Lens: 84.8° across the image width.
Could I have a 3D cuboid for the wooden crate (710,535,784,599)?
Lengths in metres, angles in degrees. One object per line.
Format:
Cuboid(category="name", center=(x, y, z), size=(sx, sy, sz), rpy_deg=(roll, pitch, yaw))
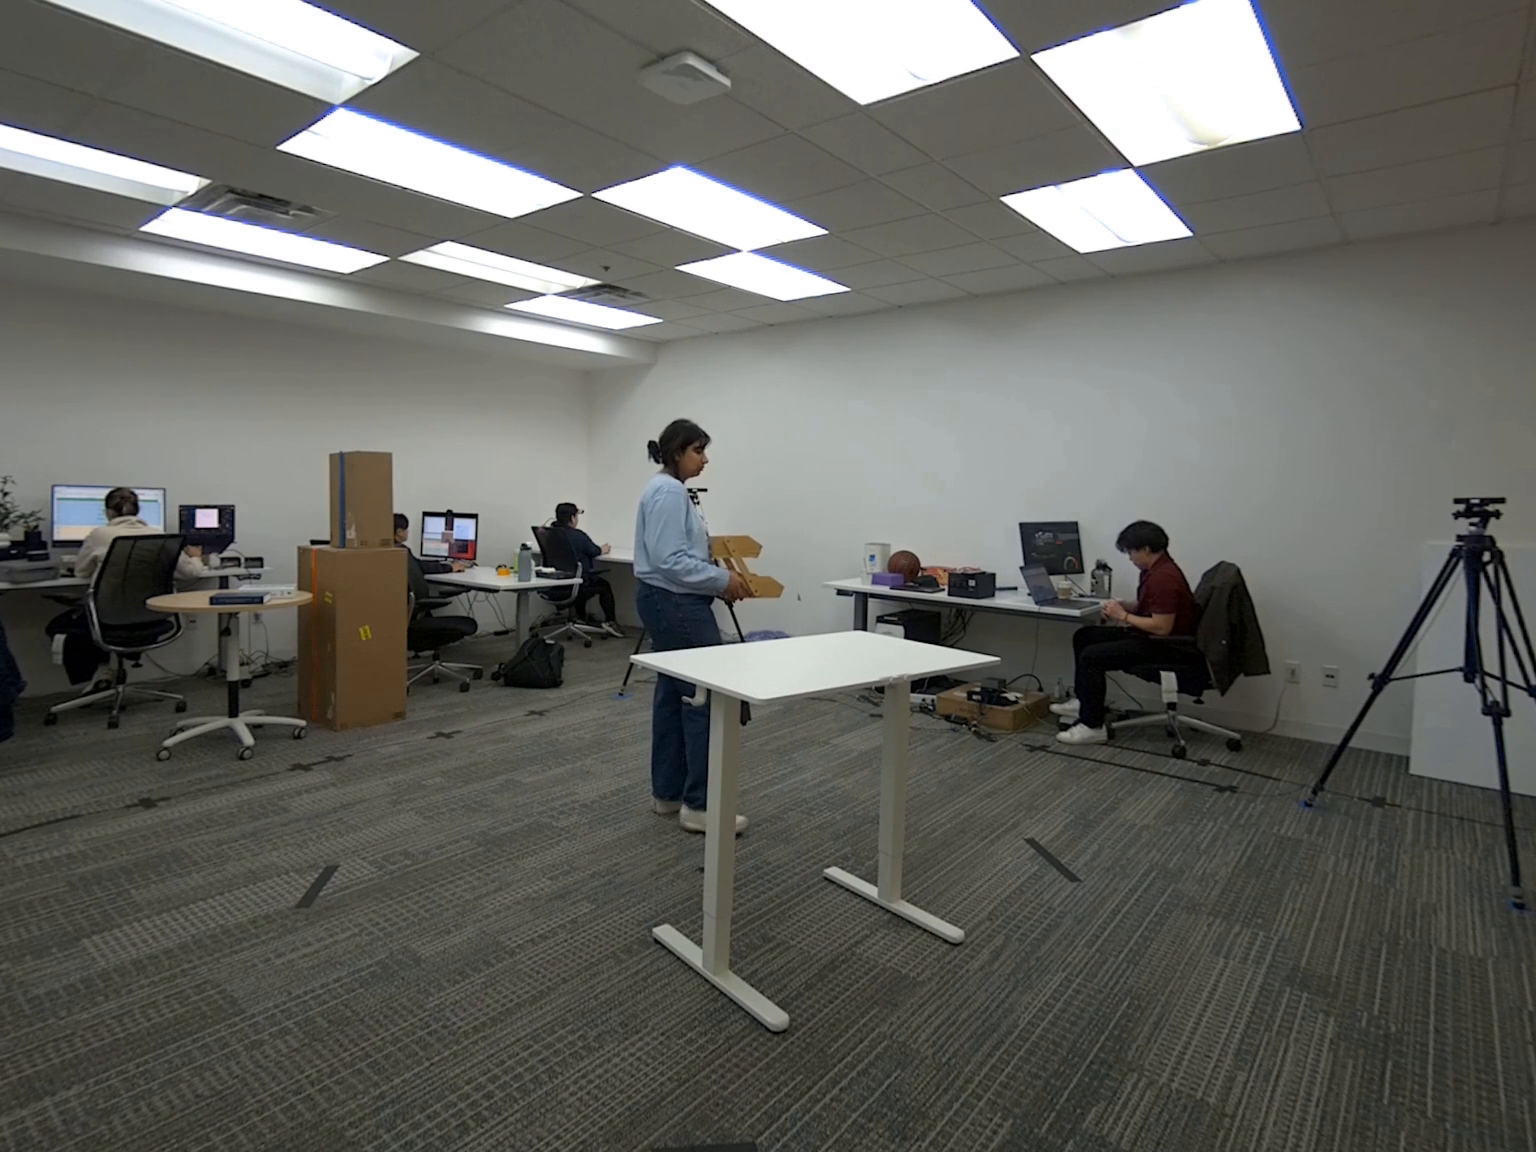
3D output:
Cuboid(category="wooden crate", center=(-0.113, -0.054, 3.674), size=(0.300, 0.273, 0.328), rpy_deg=(-2, 3, -8))
